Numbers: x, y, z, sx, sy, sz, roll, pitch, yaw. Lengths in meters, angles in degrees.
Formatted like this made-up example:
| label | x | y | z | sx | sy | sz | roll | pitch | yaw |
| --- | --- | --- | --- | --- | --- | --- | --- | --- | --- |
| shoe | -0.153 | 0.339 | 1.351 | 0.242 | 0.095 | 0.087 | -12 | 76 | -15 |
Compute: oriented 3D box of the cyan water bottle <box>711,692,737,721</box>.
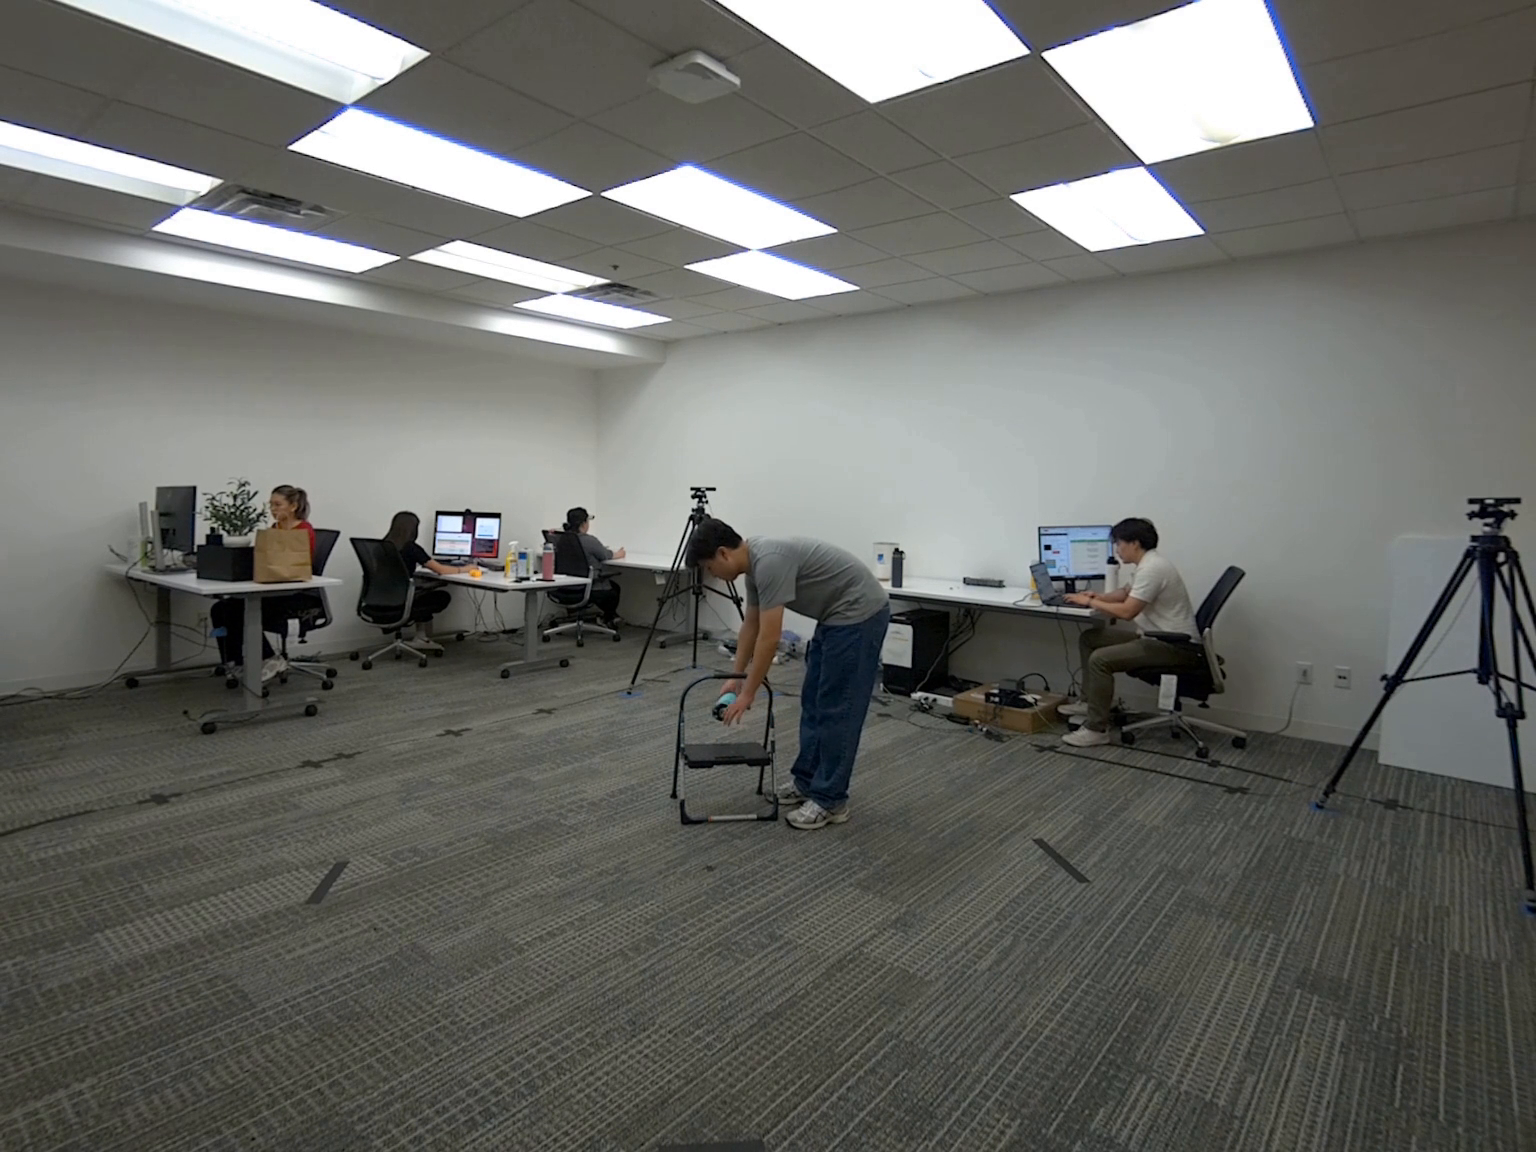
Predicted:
| label | x | y | z | sx | sy | sz | roll | pitch | yaw |
| --- | --- | --- | --- | --- | --- | --- | --- | --- | --- |
| cyan water bottle | -0.184 | 0.553 | 3.785 | 0.094 | 0.091 | 0.281 | 2 | 11 | 13 |
